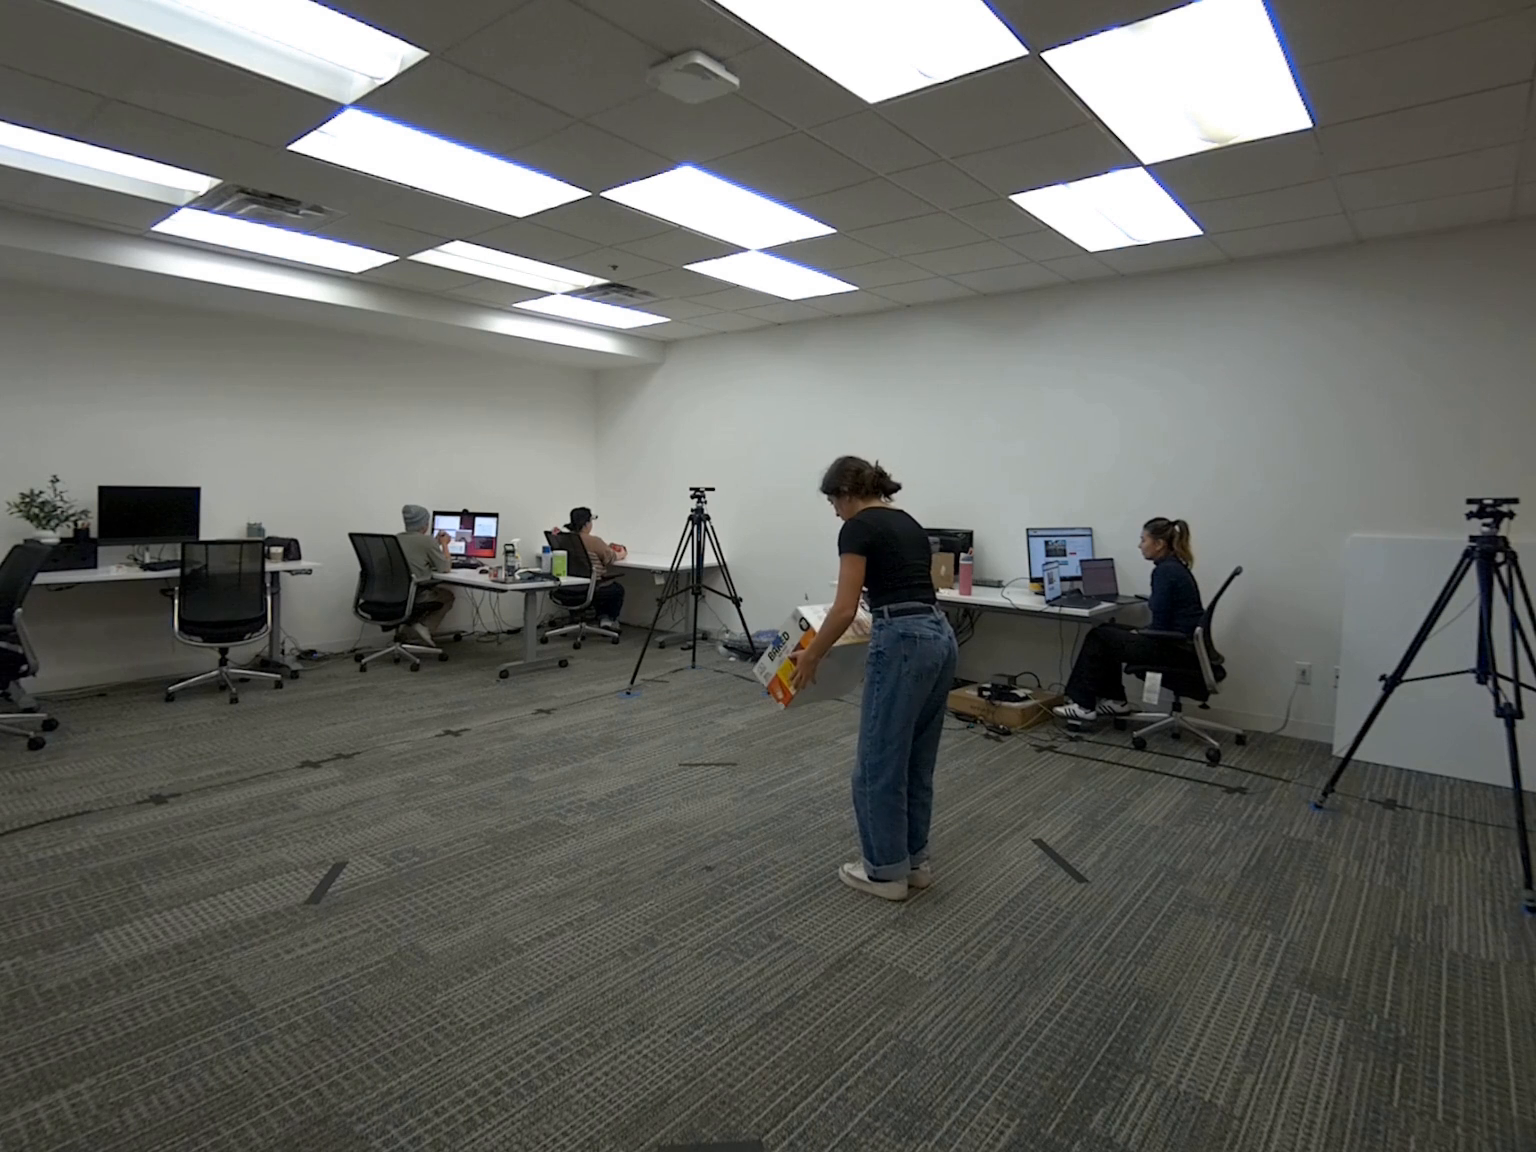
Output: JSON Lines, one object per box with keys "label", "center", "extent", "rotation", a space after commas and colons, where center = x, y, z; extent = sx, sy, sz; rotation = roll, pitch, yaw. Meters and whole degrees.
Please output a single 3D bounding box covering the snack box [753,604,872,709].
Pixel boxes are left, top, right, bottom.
{"label": "snack box", "center": [0.206, 0.293, 3.219], "extent": [0.393, 0.338, 0.213], "rotation": [-3, 44, -46]}
